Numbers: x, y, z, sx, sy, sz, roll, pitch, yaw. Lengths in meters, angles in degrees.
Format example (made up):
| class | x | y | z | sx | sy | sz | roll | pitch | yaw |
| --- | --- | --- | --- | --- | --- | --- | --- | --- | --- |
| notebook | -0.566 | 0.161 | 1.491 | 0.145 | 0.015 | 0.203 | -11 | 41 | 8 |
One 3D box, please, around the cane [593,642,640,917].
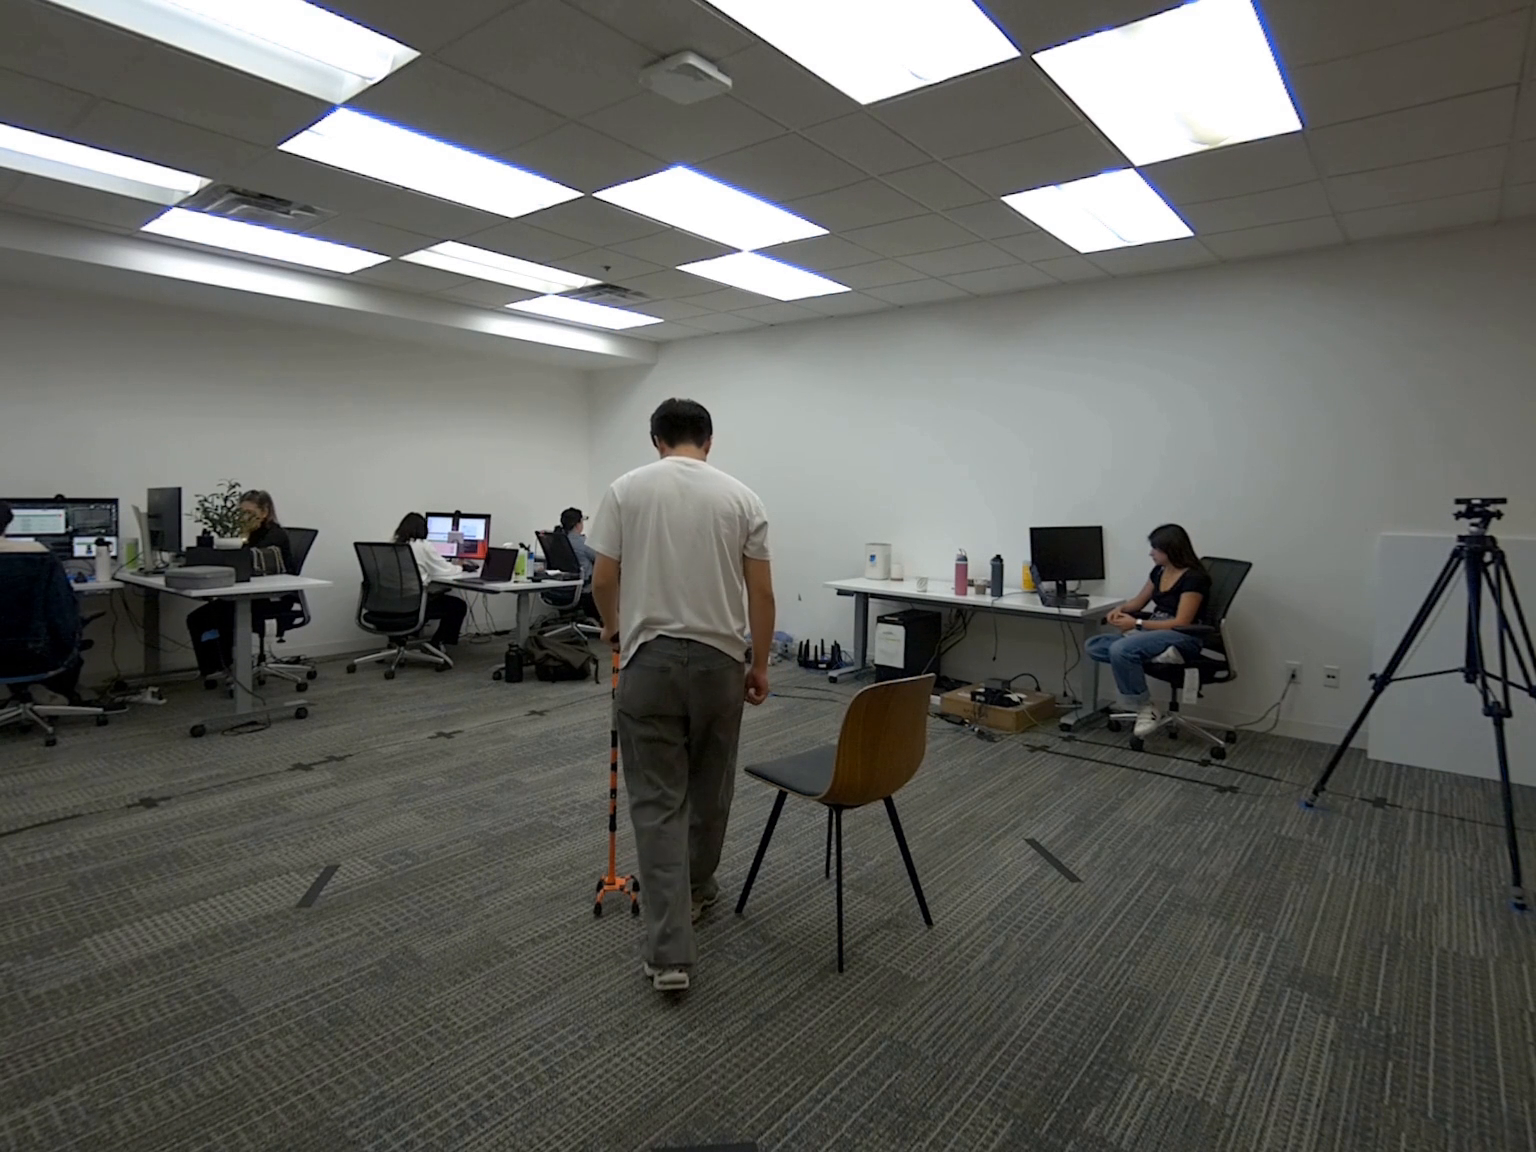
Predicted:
| class | x | y | z | sx | sy | sz | roll | pitch | yaw |
| --- | --- | --- | --- | --- | --- | --- | --- | --- | --- |
| cane | -0.503 | 0.632 | 2.842 | 0.151 | 0.908 | 0.207 | -1 | 0 | -6 |
